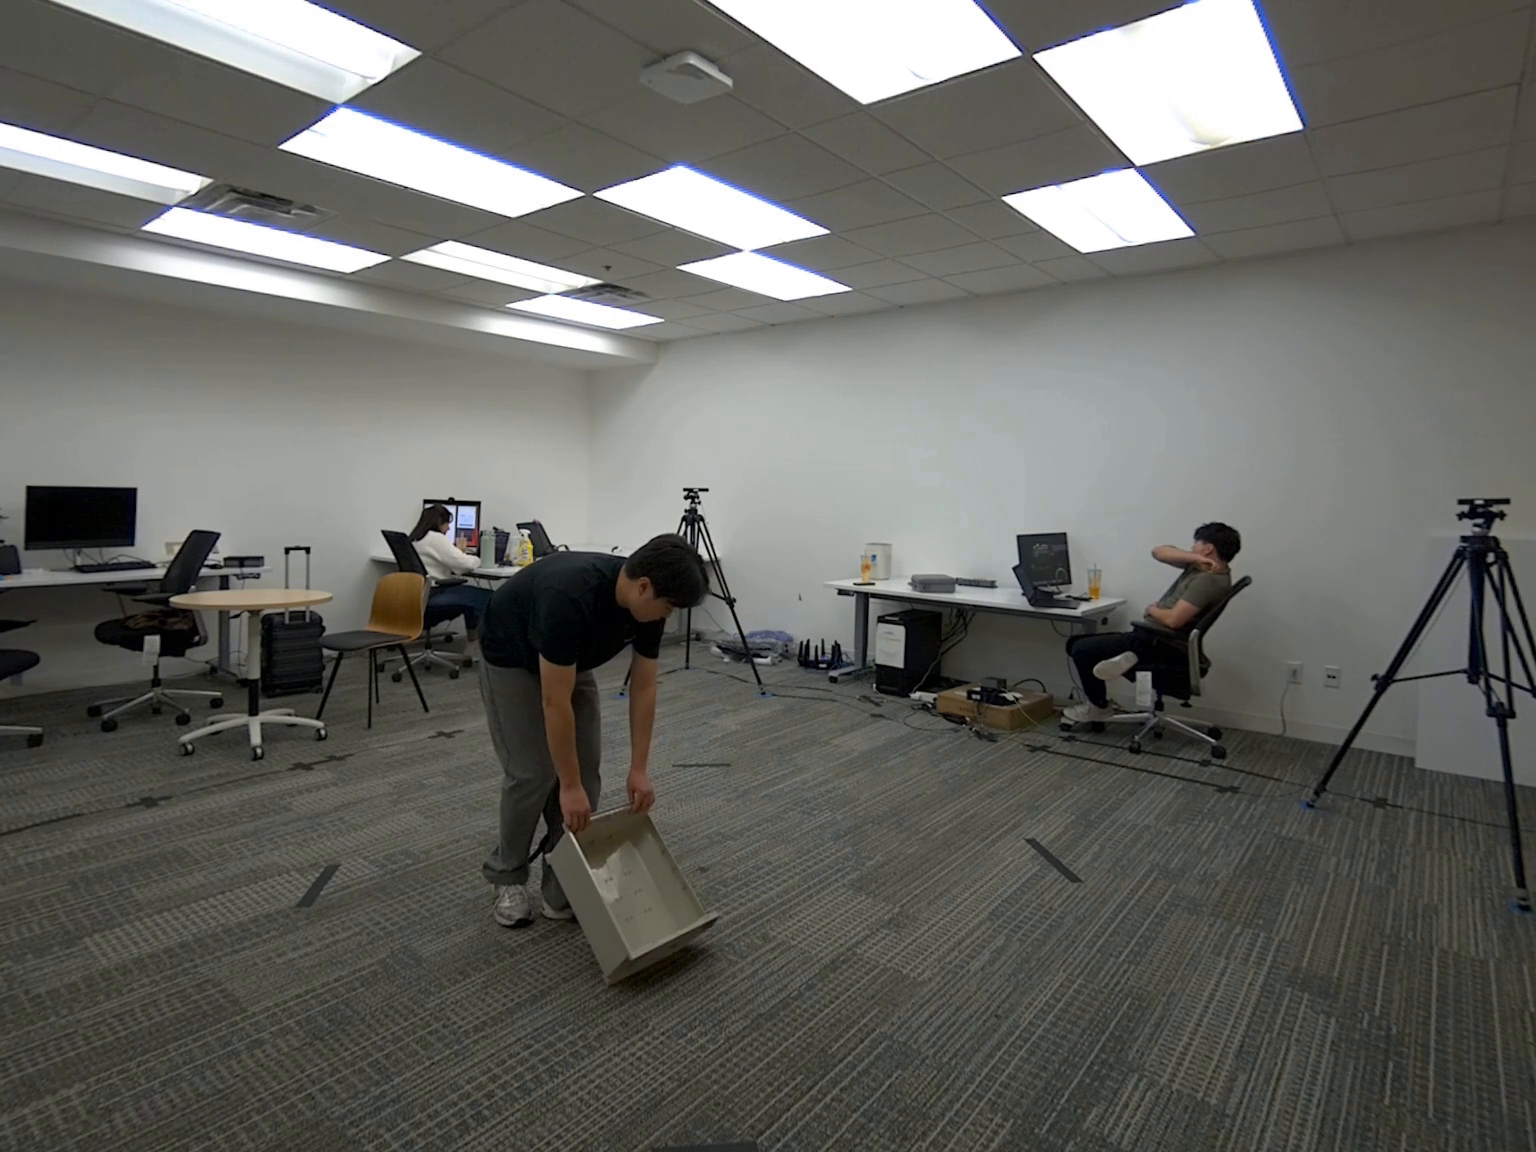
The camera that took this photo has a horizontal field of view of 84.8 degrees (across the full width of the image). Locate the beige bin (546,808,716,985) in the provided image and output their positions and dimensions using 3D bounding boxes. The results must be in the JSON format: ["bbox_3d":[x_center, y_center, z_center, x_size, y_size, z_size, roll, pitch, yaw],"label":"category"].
[{"bbox_3d":[-0.406,0.919,2.540,0.366,0.188,0.438,-5,47,-47],"label":"beige bin"}]
